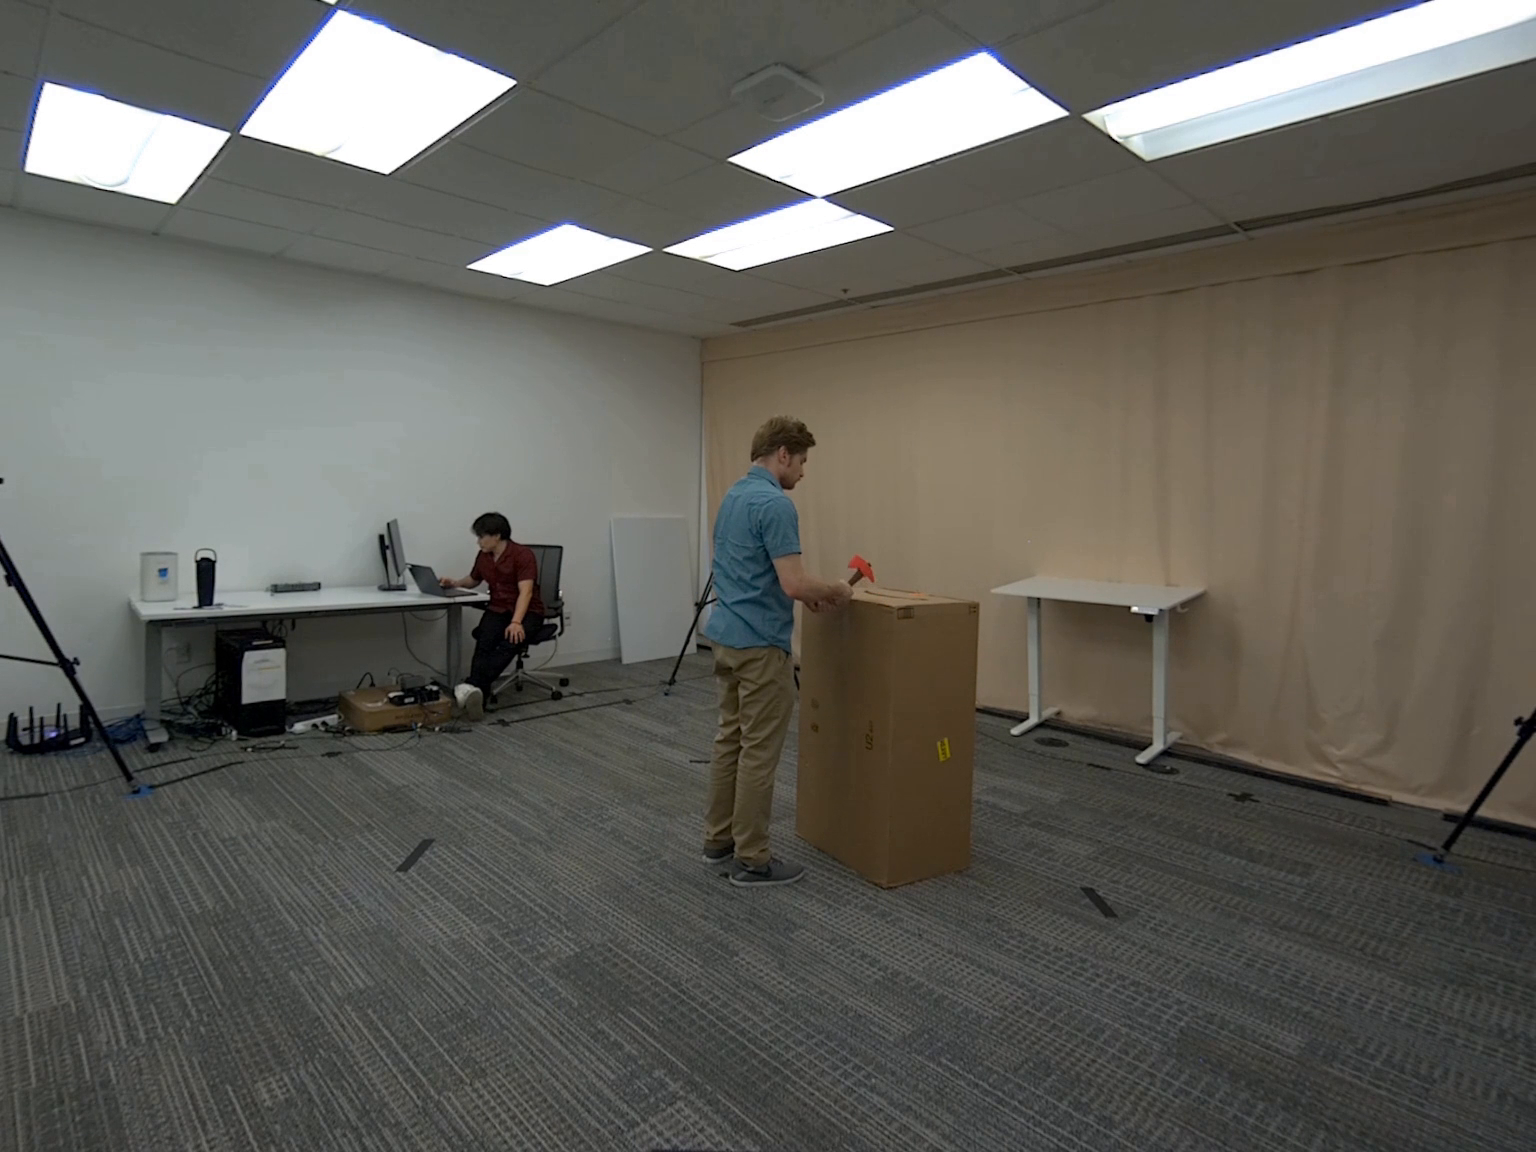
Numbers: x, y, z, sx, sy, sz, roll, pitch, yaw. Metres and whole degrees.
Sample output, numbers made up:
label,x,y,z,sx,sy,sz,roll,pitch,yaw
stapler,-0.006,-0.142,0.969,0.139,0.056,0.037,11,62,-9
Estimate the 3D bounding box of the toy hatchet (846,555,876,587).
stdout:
label,x,y,z,sx,sy,sz,roll,pitch,yaw
toy hatchet,0.272,0.015,3.167,0.268,0.130,0.030,-19,10,-17
